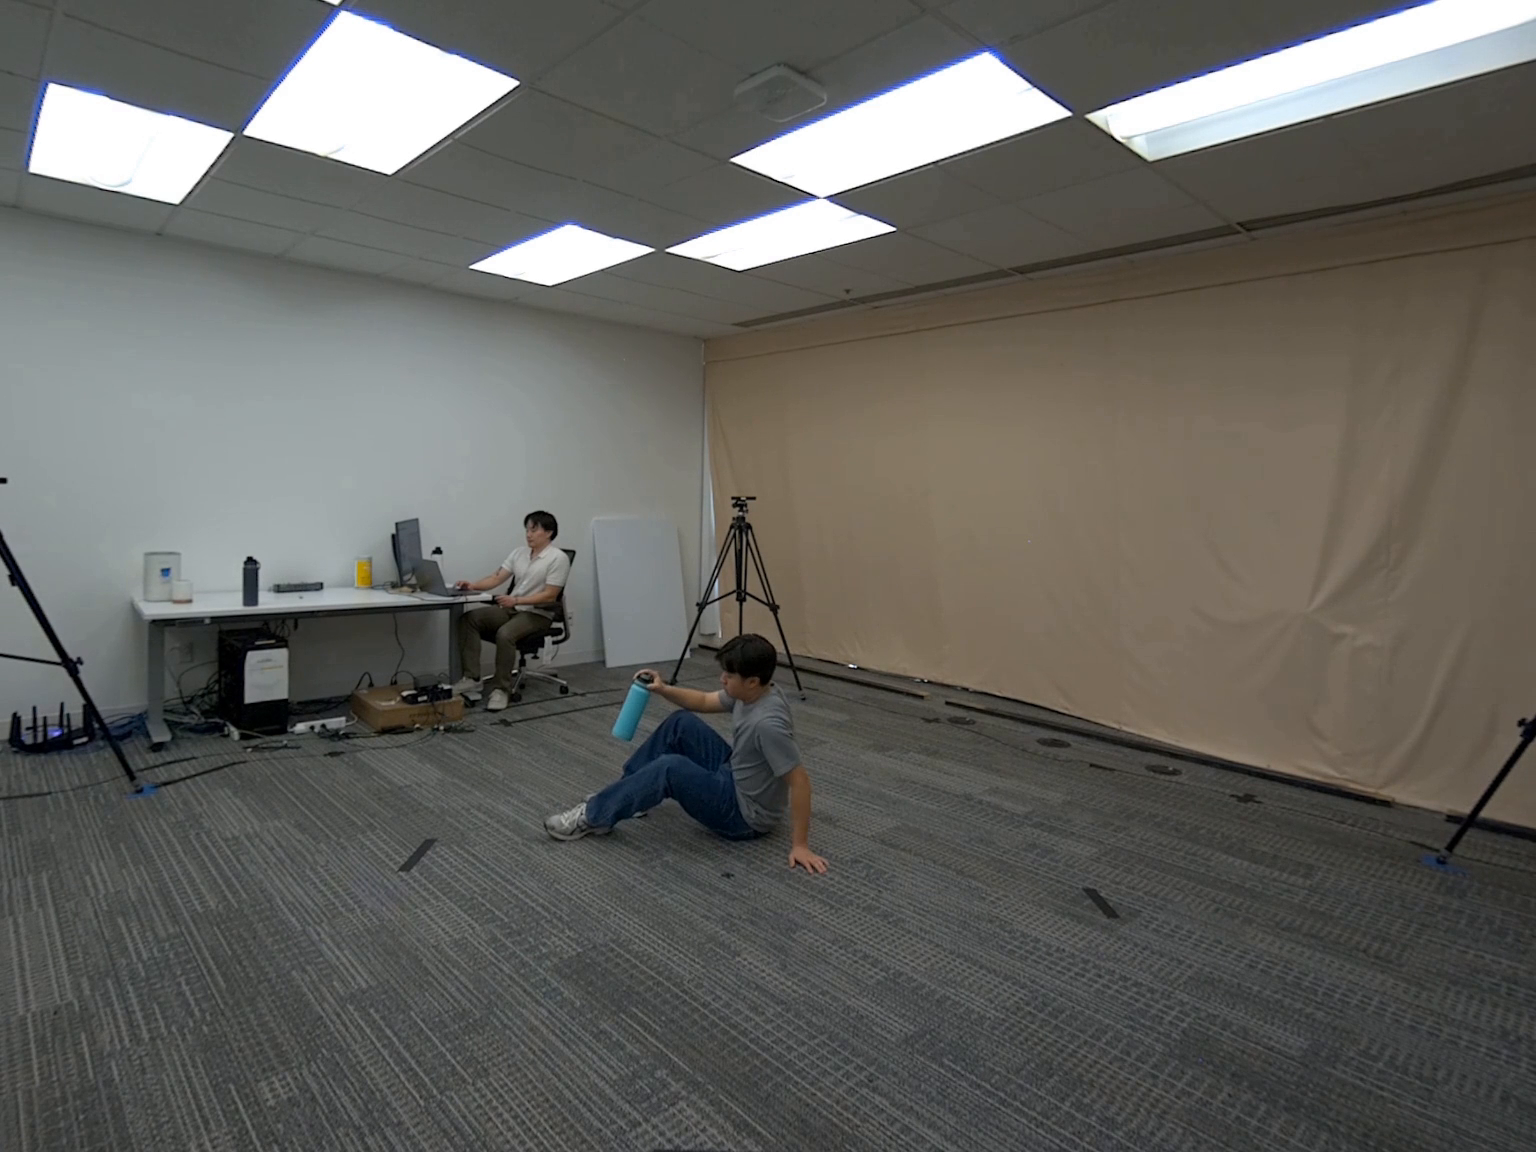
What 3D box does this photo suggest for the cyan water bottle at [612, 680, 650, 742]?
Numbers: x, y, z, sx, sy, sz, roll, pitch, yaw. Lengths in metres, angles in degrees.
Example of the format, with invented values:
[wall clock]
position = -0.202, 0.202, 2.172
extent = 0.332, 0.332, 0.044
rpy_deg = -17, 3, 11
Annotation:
[cyan water bottle]
position = -0.562, 0.543, 3.520
extent = 0.092, 0.283, 0.092
rpy_deg = 21, -2, -1
